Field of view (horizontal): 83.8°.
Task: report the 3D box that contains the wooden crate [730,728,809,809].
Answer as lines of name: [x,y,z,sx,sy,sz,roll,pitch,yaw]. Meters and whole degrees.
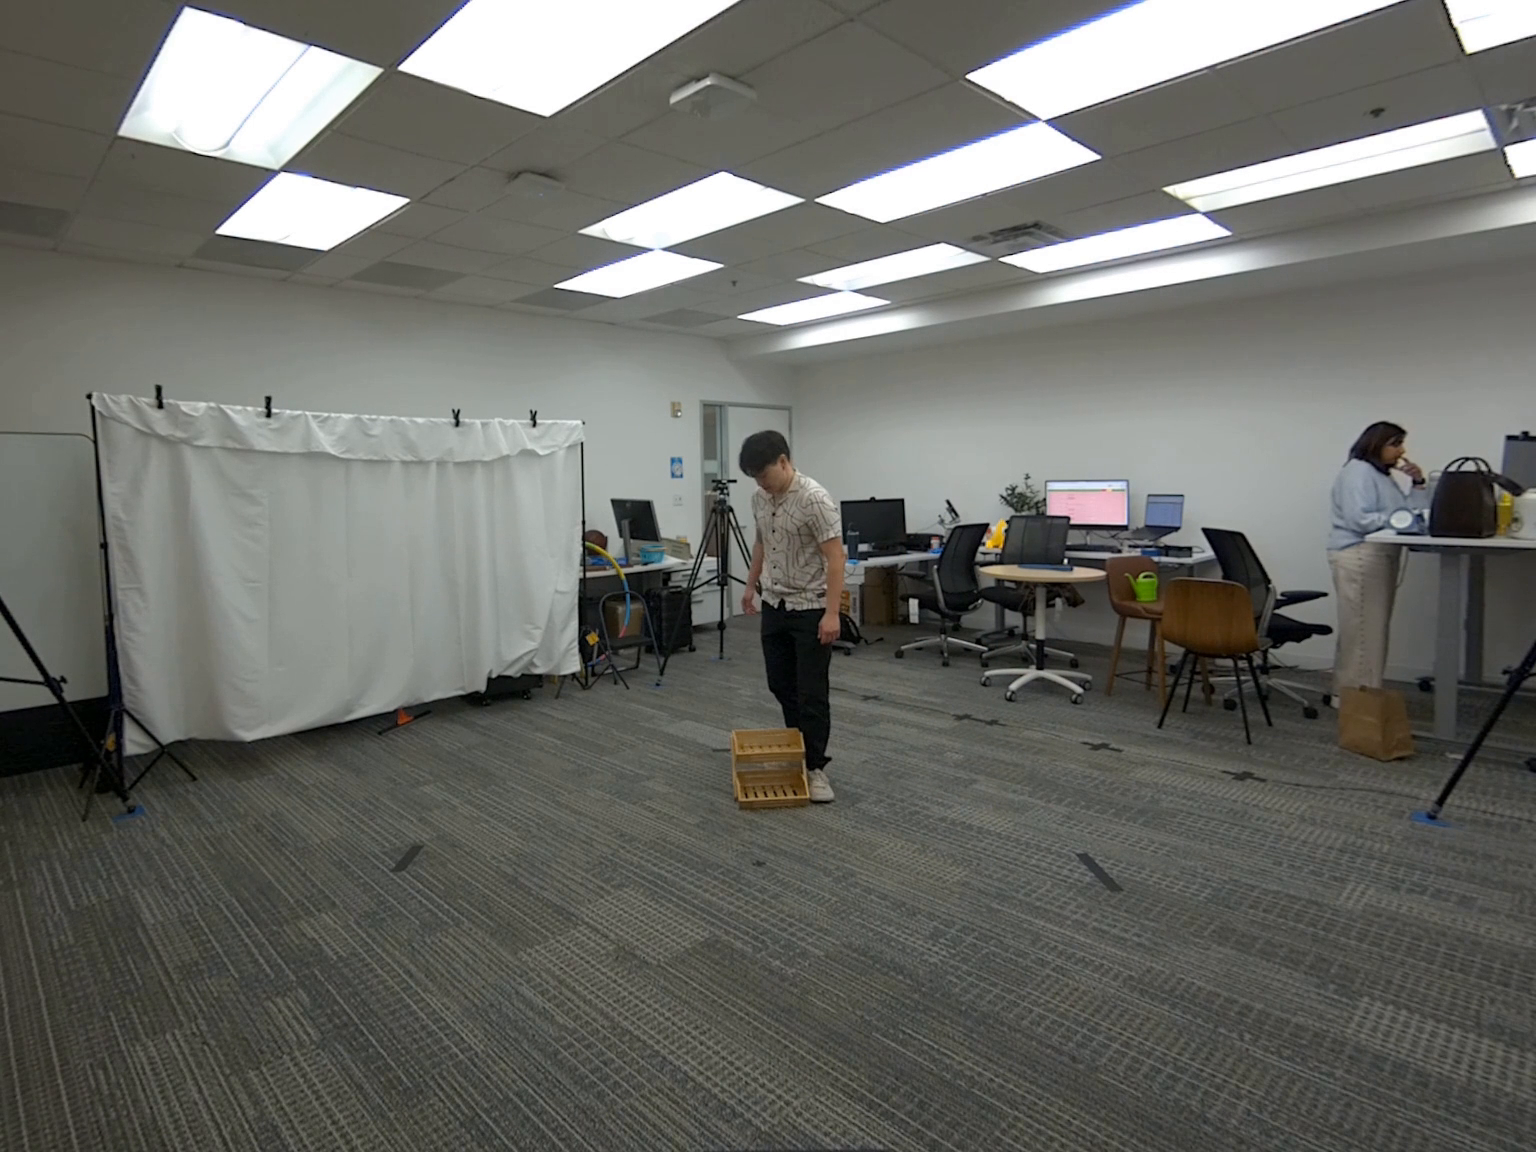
wooden crate: [0.011,0.839,3.746,0.323,0.272,0.304,-1,4,-4]
